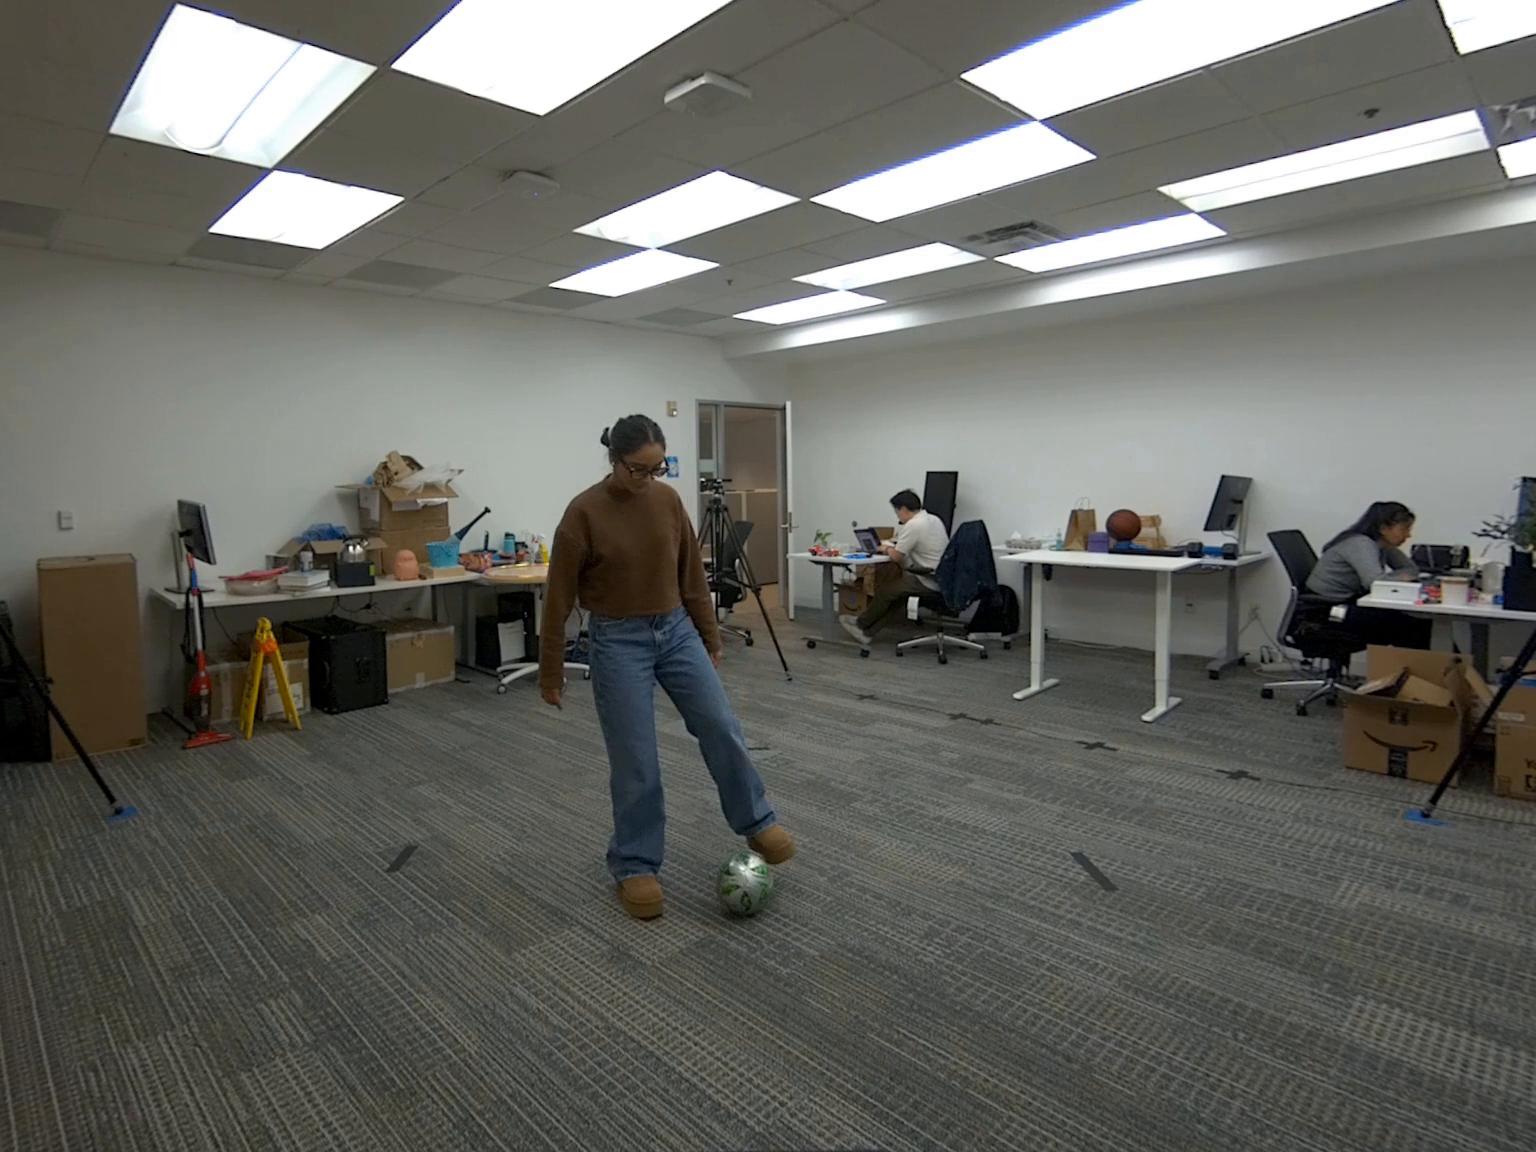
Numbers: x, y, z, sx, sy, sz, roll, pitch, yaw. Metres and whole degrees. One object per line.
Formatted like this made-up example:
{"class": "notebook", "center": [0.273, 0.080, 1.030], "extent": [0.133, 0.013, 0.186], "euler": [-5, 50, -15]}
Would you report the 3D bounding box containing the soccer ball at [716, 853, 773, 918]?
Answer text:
{"class": "soccer ball", "center": [-0.084, 0.989, 2.755], "extent": [0.187, 0.187, 0.188], "euler": [-1, 5, -2]}
